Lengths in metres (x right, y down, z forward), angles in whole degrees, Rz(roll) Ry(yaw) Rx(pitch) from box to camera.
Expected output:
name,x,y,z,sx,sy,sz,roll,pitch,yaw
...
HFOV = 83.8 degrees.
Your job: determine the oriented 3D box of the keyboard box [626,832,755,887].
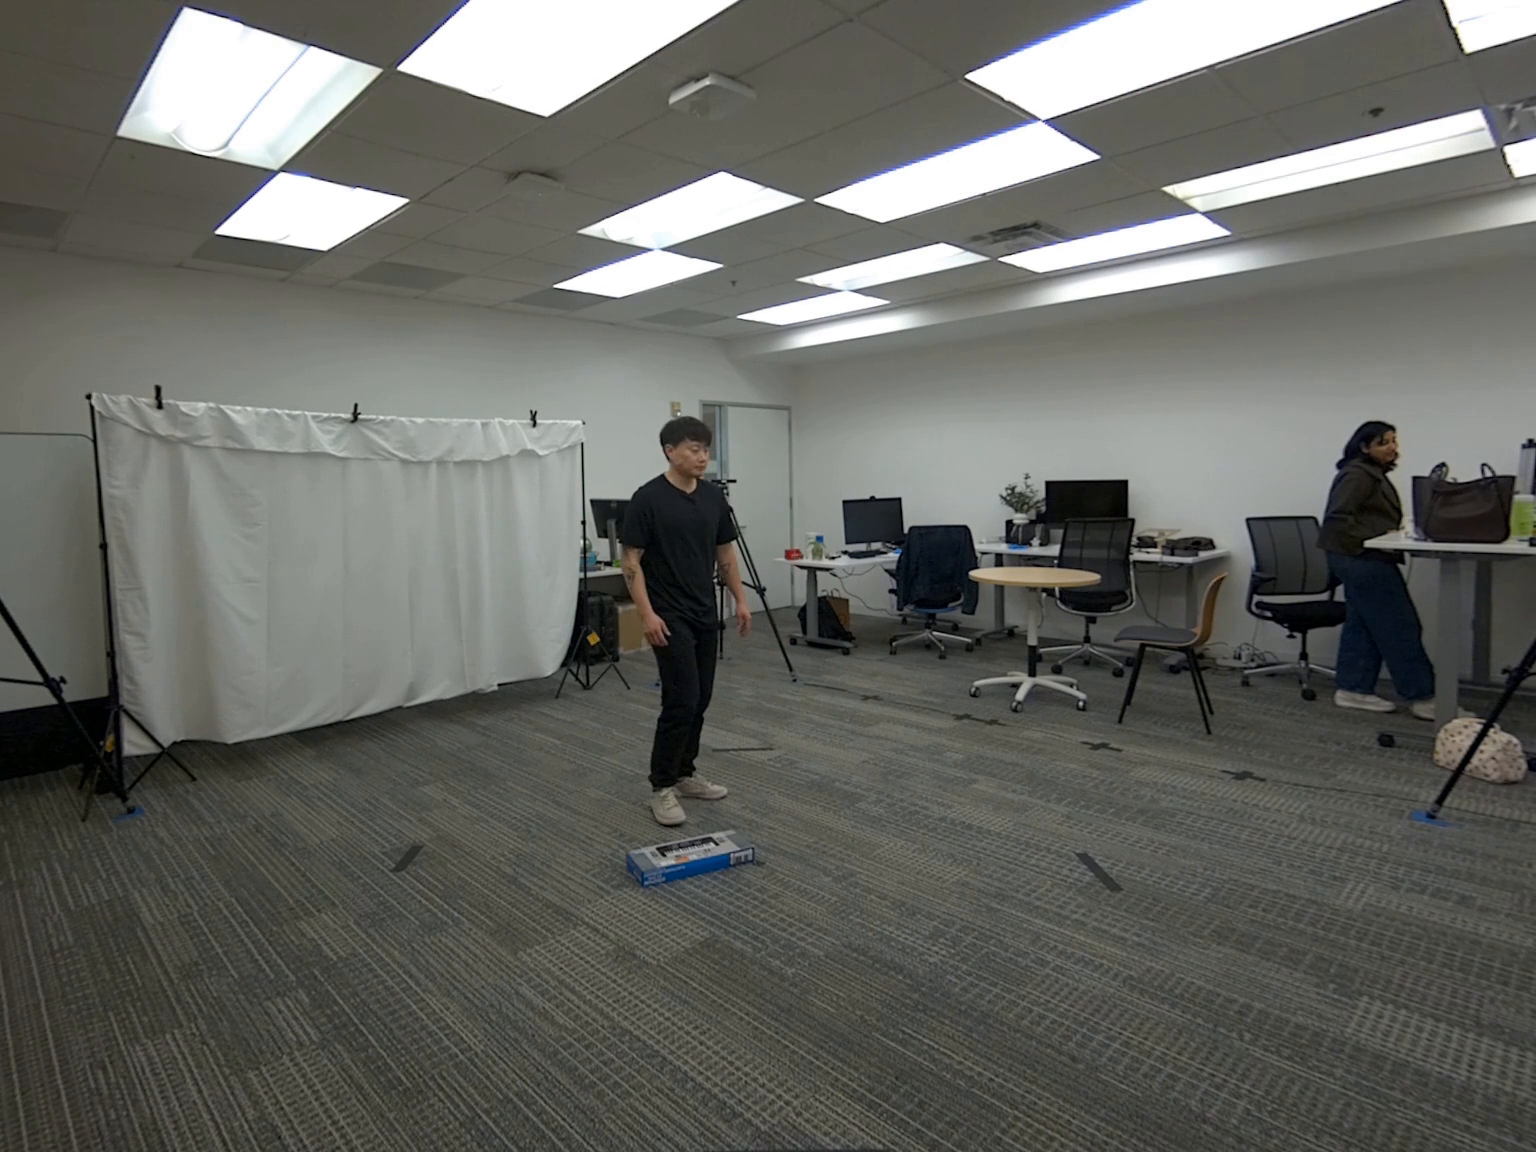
name,x,y,z,sx,sy,sz,roll,pitch,yaw
keyboard box,-0.276,1.022,3.102,0.427,0.059,0.181,-4,8,-26
